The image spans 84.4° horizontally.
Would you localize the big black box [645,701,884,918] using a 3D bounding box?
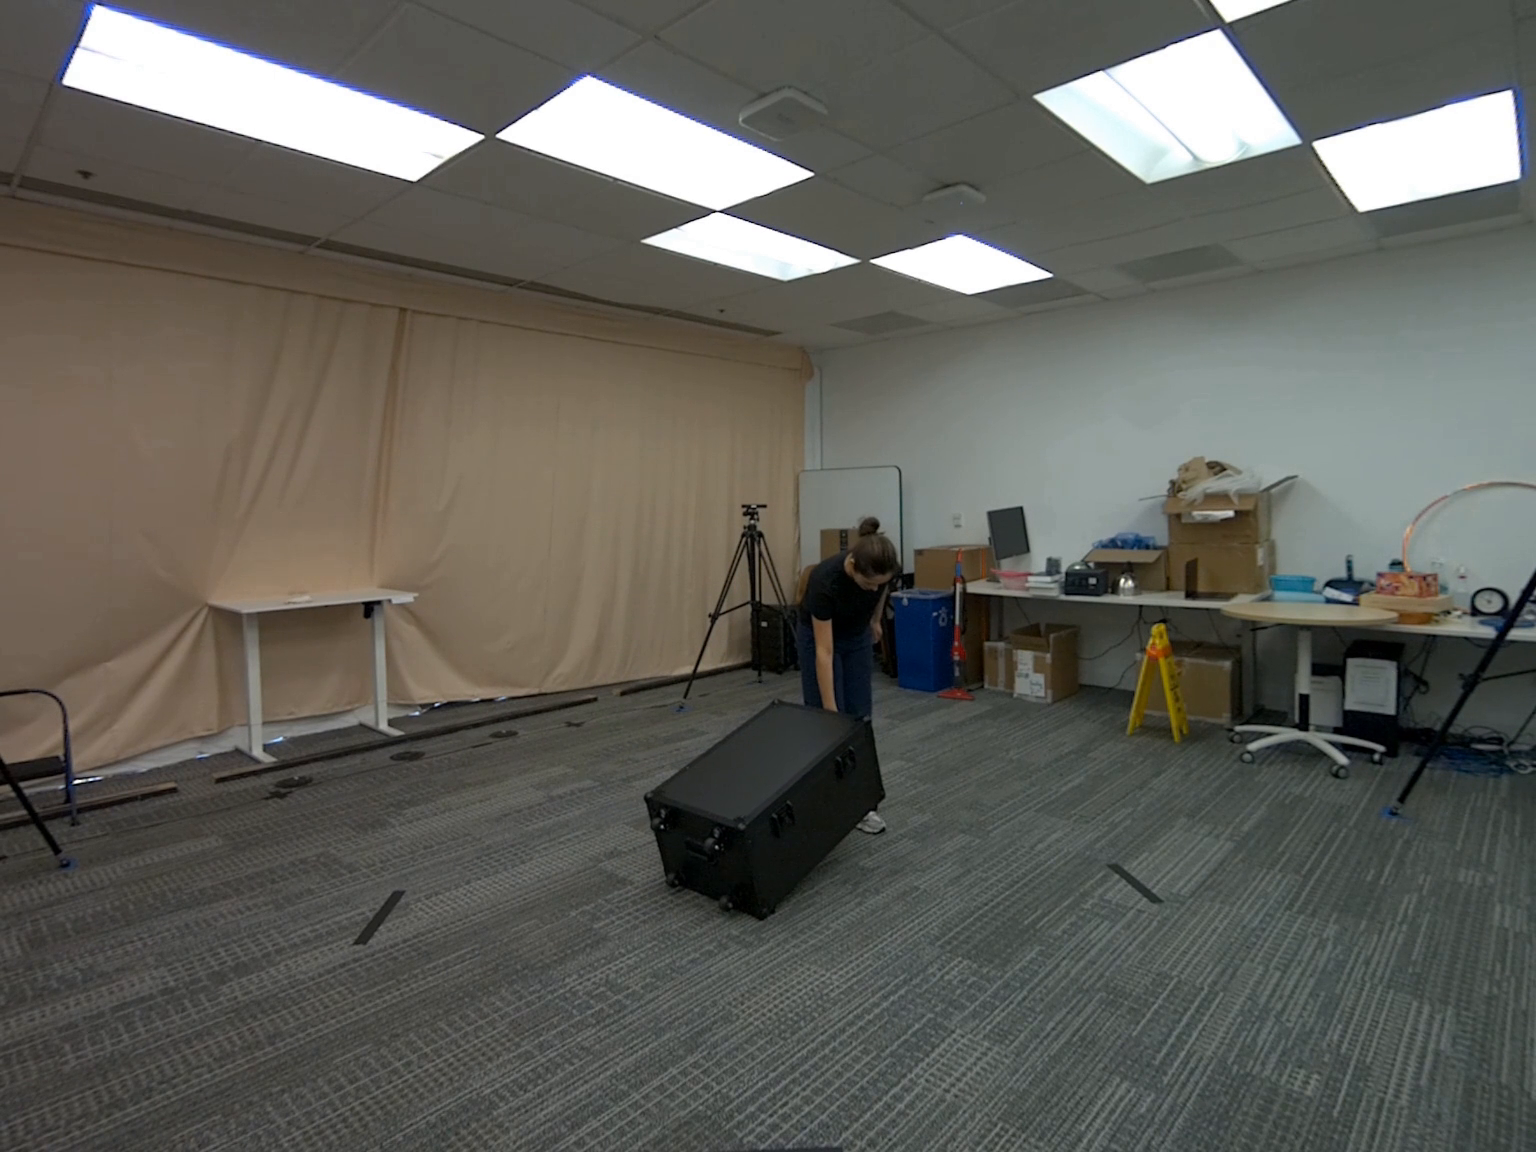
[{"bbox_3d":[-0.001,0.837,3.162,0.539,0.391,0.845,4,23,41],"label":"big black box"}]
